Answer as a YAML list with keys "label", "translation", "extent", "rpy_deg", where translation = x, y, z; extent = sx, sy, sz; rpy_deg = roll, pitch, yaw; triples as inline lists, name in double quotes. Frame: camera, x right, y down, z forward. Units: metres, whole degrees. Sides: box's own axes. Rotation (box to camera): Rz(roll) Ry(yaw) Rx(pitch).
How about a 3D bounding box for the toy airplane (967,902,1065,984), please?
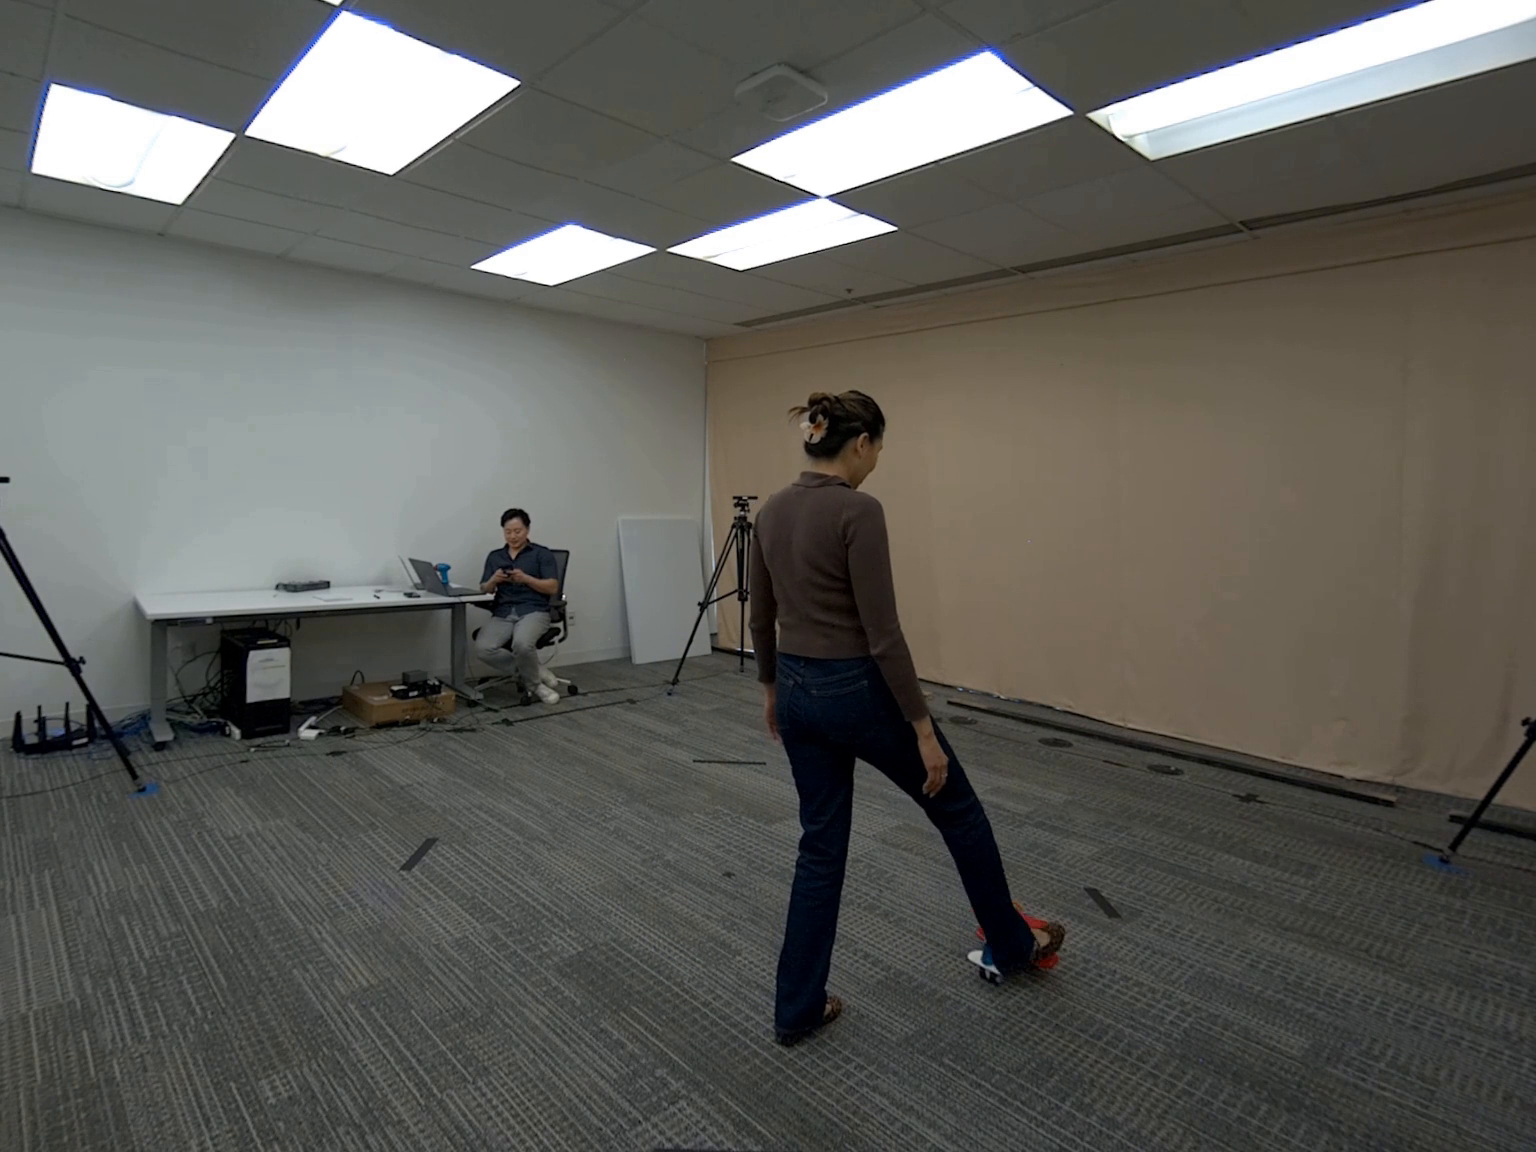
- label: "toy airplane"
  translation: [0.728, 1.107, 2.501]
  extent: [0.255, 0.156, 0.255]
  rpy_deg: [4, 4, 21]
